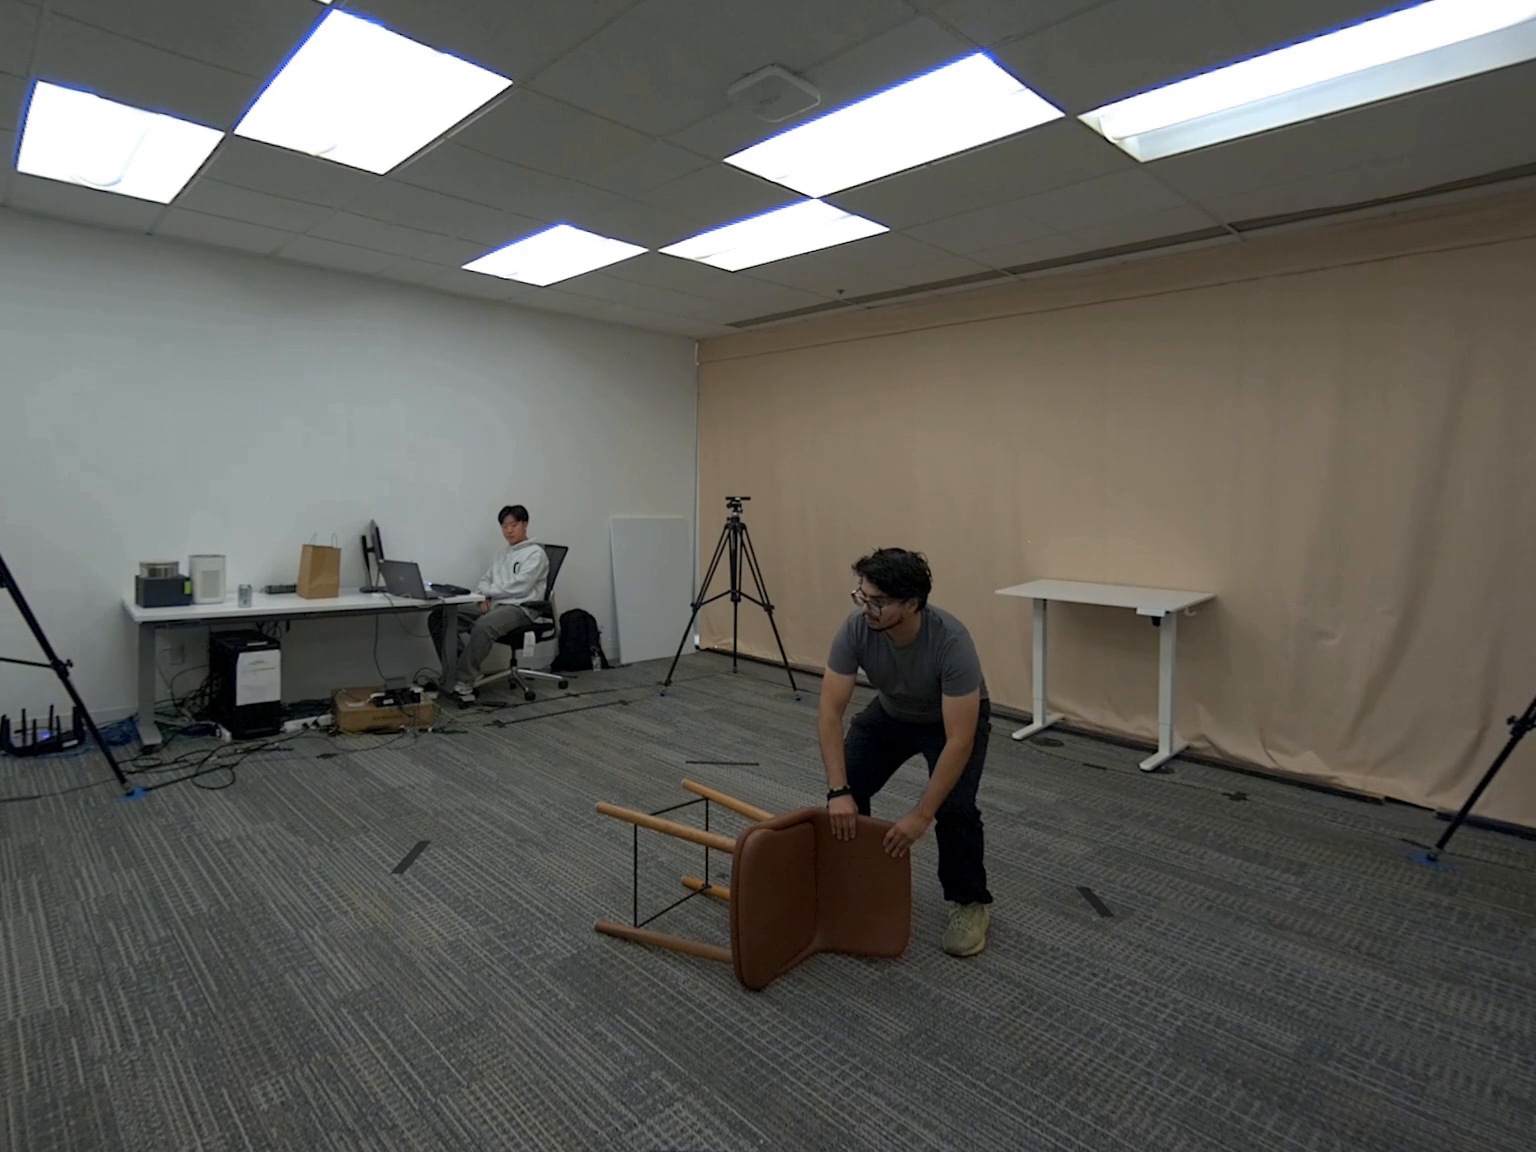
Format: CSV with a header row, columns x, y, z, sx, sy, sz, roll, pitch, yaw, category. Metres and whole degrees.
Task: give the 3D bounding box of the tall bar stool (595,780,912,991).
x,y,z,sx,sy,sz,roll,pitch,yaw,category
-0.072,0.939,2.606,0.910,0.456,0.457,2,2,35,tall bar stool
